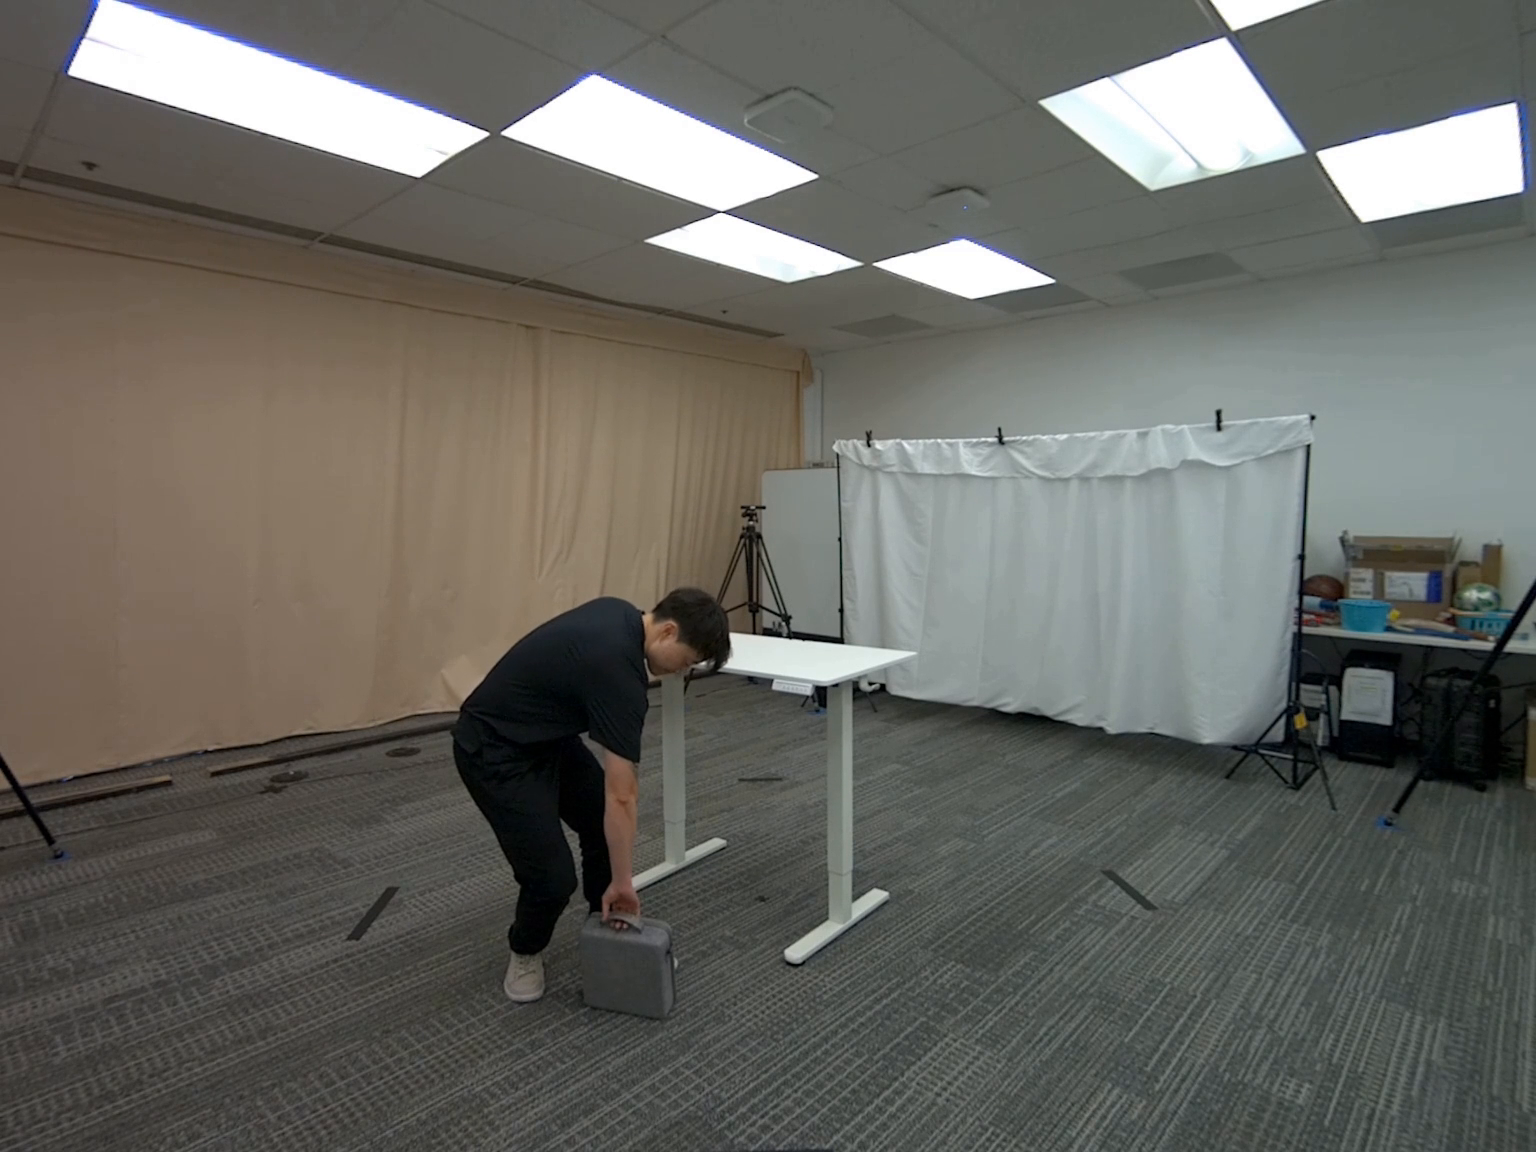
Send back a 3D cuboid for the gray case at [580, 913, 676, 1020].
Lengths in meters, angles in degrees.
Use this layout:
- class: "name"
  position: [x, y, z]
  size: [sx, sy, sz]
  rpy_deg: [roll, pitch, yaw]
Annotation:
- class: "gray case"
  position: [-0.387, 1.064, 2.321]
  size: [0.261, 0.258, 0.103]
  rpy_deg: [1, 13, 16]
